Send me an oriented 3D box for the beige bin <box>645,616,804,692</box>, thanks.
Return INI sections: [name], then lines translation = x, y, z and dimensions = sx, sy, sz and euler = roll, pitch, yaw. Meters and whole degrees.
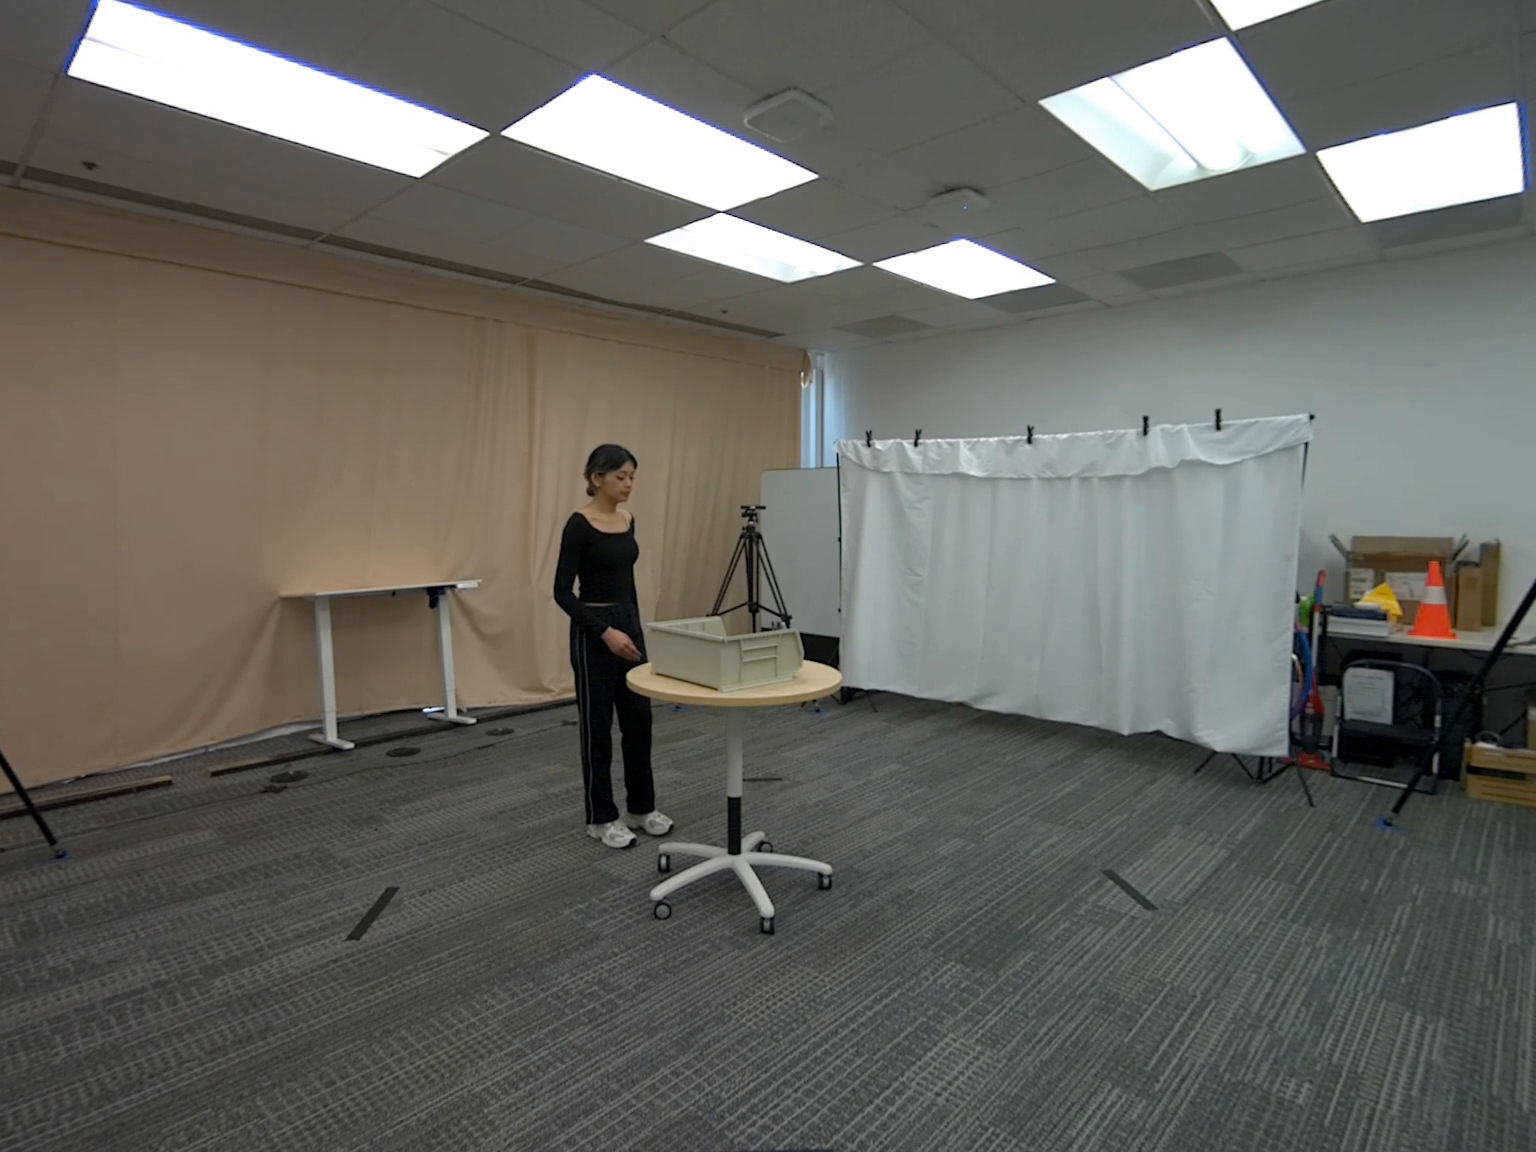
[beige bin]
translation = -0.152, 0.265, 2.963
dimensions = 0.366, 0.188, 0.436
euler = -5, 7, -41
